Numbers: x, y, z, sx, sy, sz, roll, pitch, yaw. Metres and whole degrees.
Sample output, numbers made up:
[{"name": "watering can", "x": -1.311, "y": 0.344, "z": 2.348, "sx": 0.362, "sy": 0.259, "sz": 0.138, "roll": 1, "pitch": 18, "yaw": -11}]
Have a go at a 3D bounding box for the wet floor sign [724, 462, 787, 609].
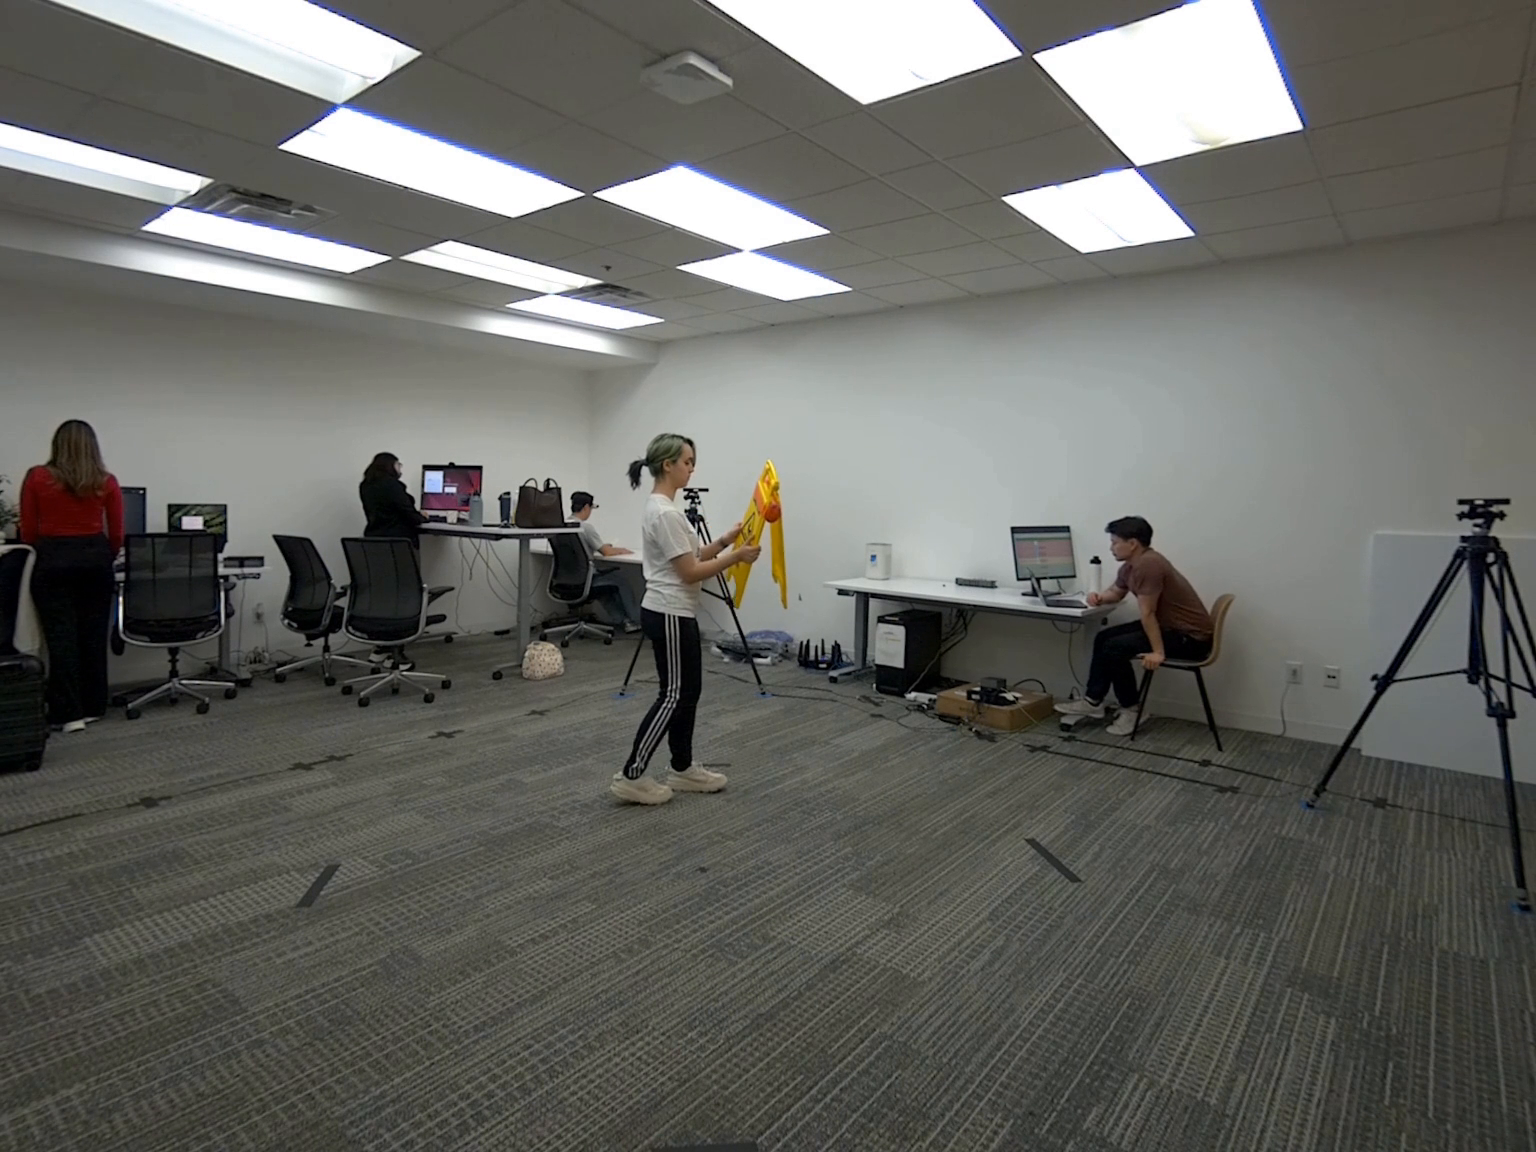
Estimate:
[{"name": "wet floor sign", "x": -0.024, "y": -0.199, "z": 3.810, "sx": 0.287, "sy": 0.631, "sz": 0.292, "roll": -1, "pitch": 35, "yaw": -11}]
